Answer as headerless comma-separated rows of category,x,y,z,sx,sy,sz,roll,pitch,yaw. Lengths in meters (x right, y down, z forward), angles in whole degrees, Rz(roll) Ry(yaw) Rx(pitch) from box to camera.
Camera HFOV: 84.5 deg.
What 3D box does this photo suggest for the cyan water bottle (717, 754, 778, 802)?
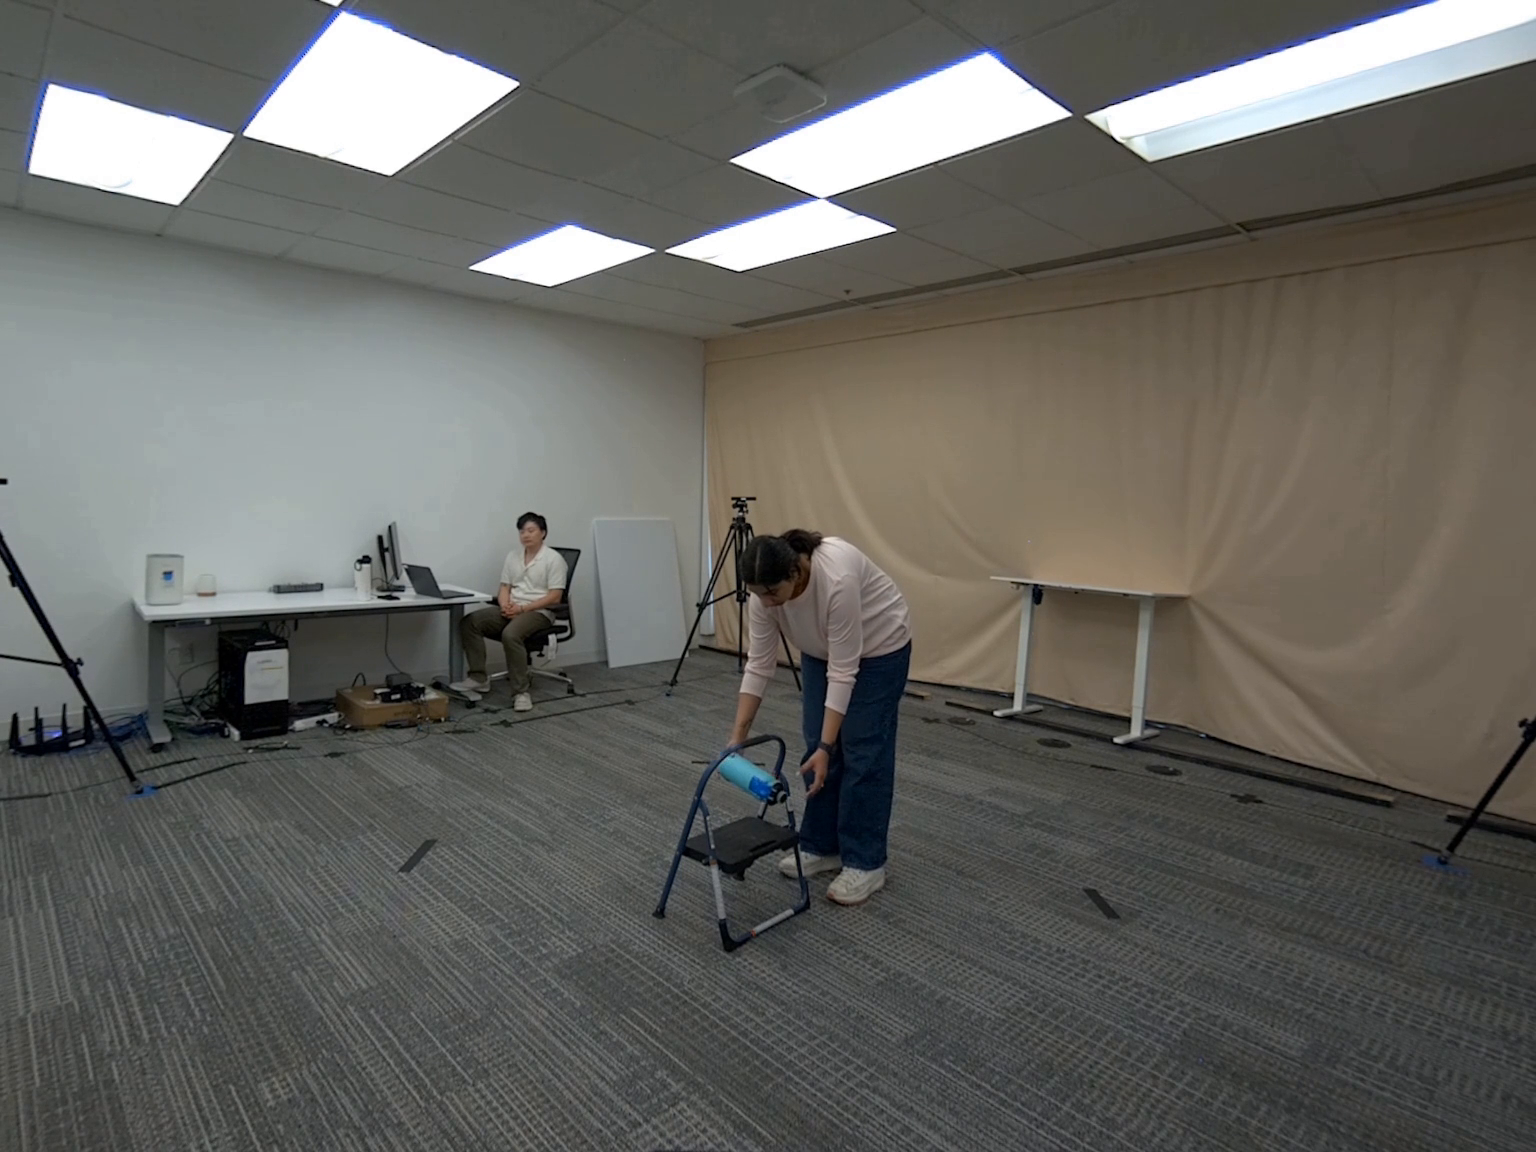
cyan water bottle,-0.057,0.674,2.797,0.090,0.092,0.292,-2,14,-39
